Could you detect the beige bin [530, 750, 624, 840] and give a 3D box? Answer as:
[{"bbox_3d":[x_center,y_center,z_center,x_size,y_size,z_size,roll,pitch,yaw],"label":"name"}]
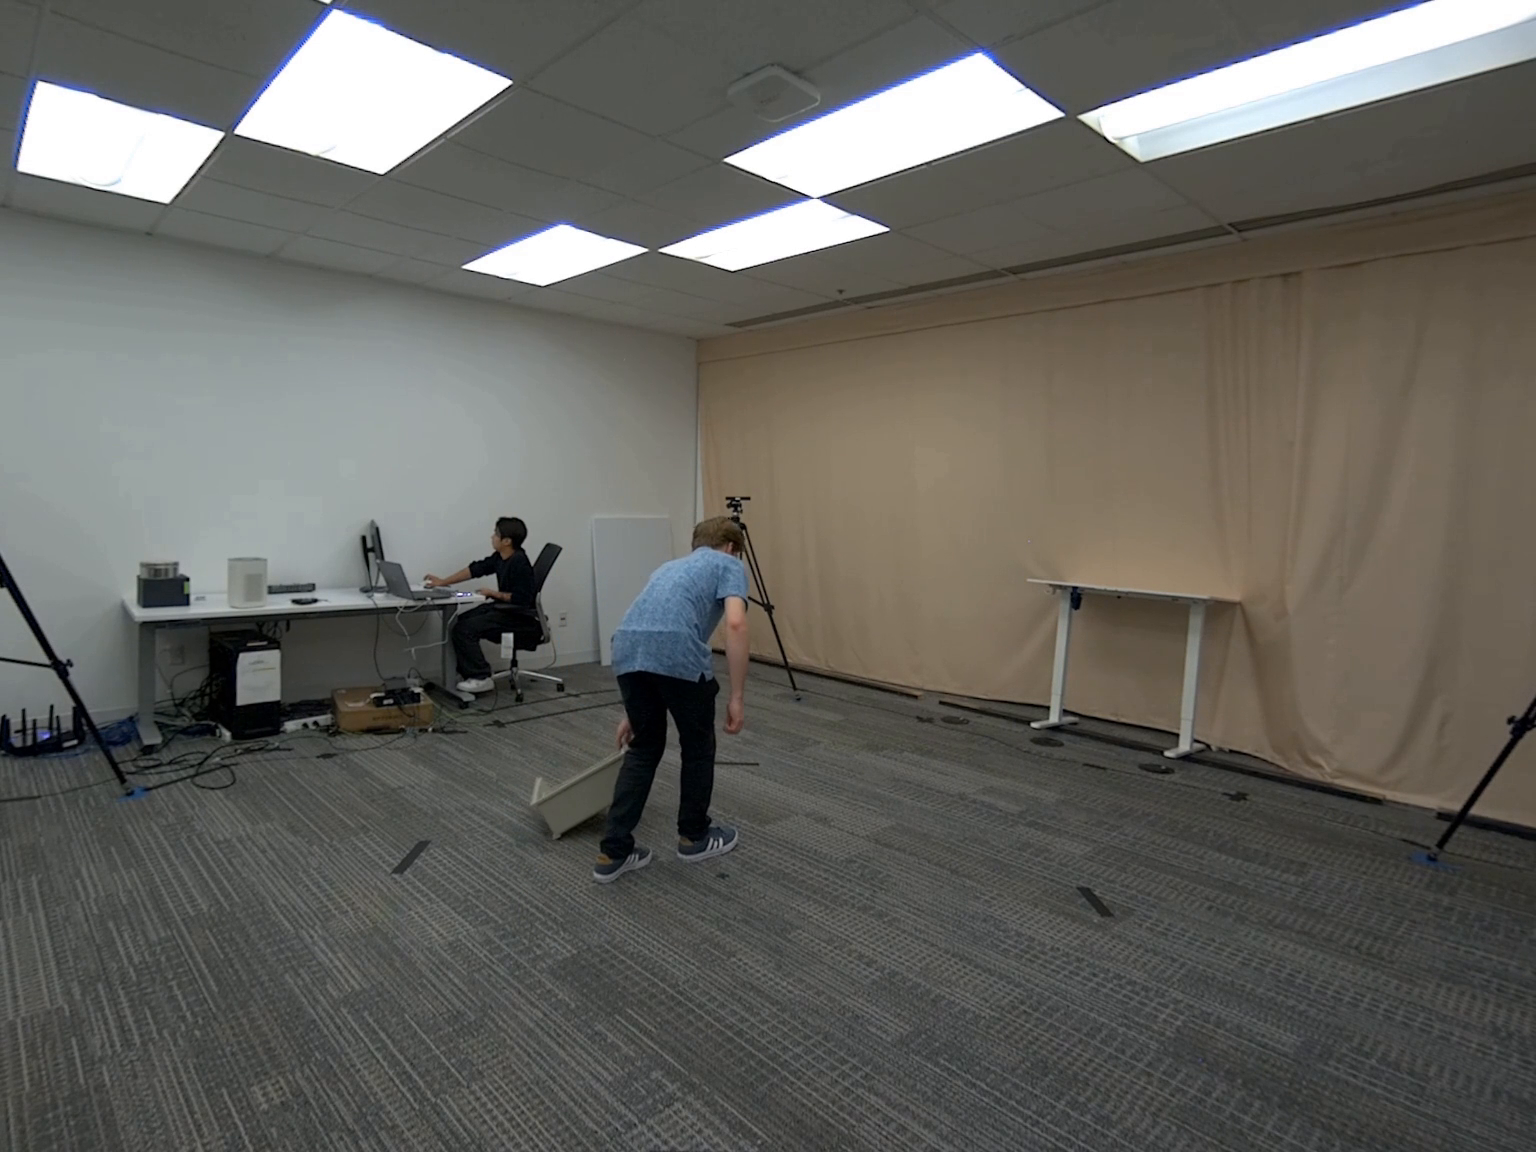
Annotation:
[{"bbox_3d":[-0.765,0.867,3.559,0.421,0.187,0.382,-28,11,-6],"label":"beige bin"}]
